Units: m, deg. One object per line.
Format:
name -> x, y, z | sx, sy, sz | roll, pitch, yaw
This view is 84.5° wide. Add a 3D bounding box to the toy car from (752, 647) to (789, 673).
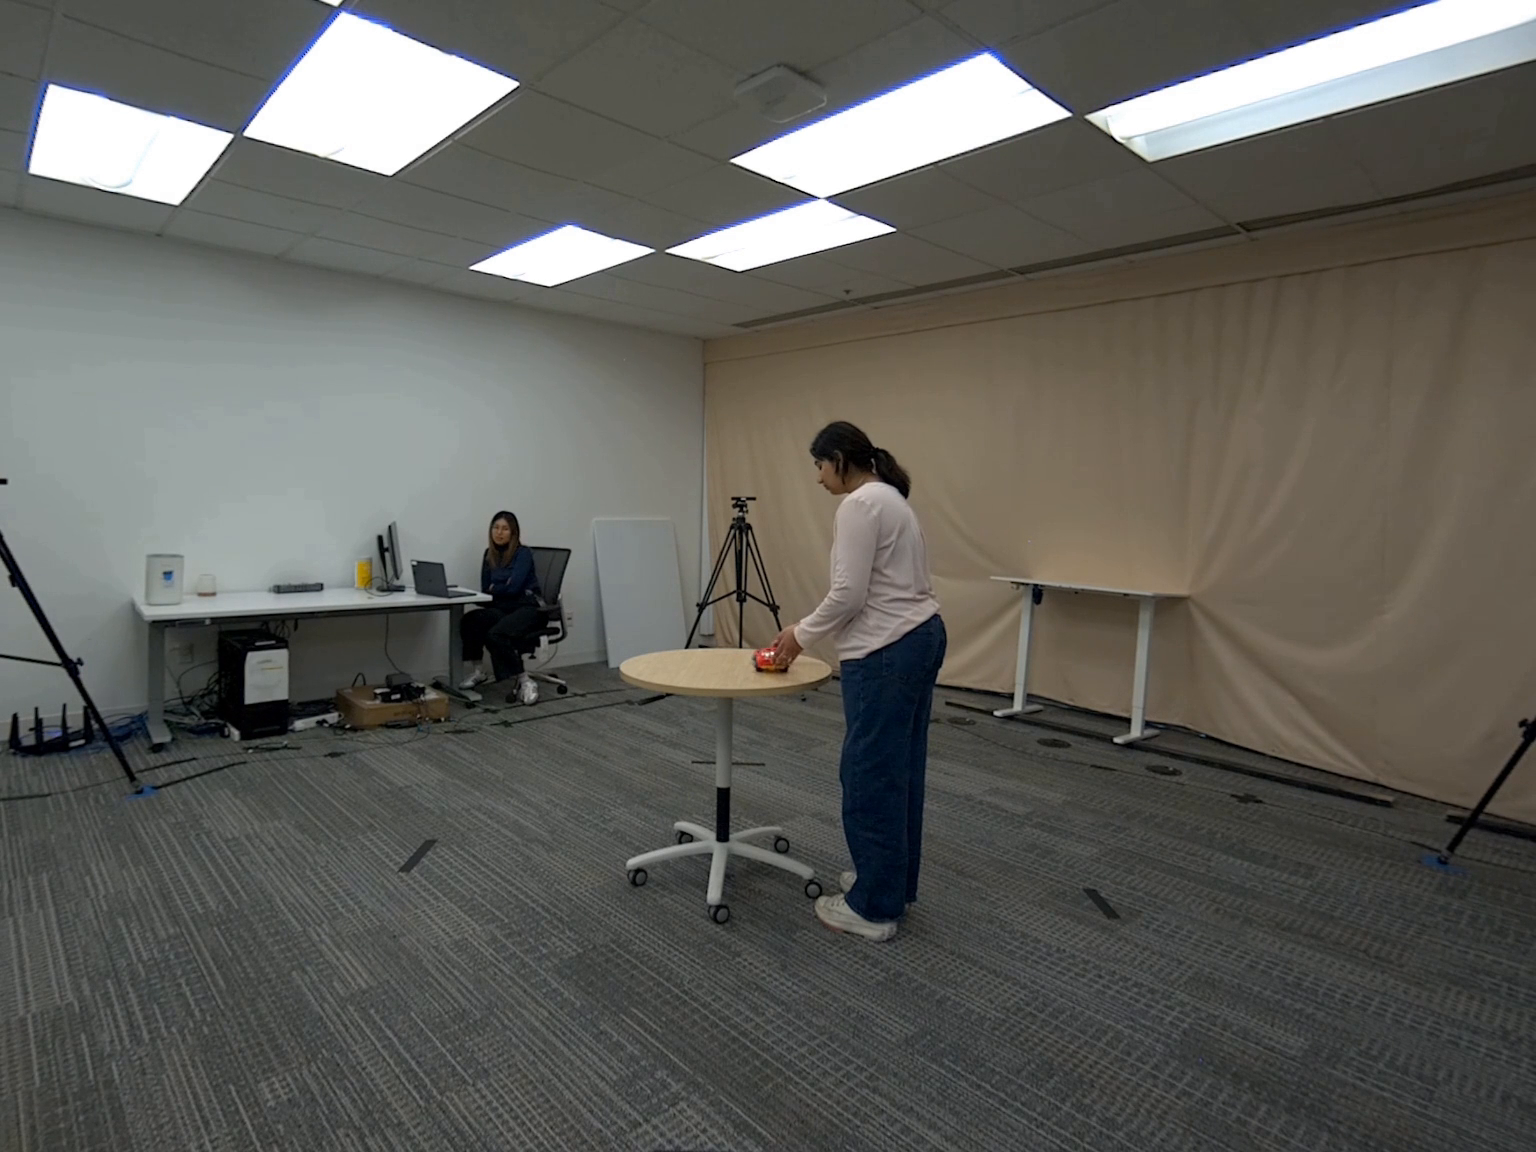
toy car -> 0.003, 0.301, 3.011 | 0.130, 0.084, 0.253 | 3, -7, -3
